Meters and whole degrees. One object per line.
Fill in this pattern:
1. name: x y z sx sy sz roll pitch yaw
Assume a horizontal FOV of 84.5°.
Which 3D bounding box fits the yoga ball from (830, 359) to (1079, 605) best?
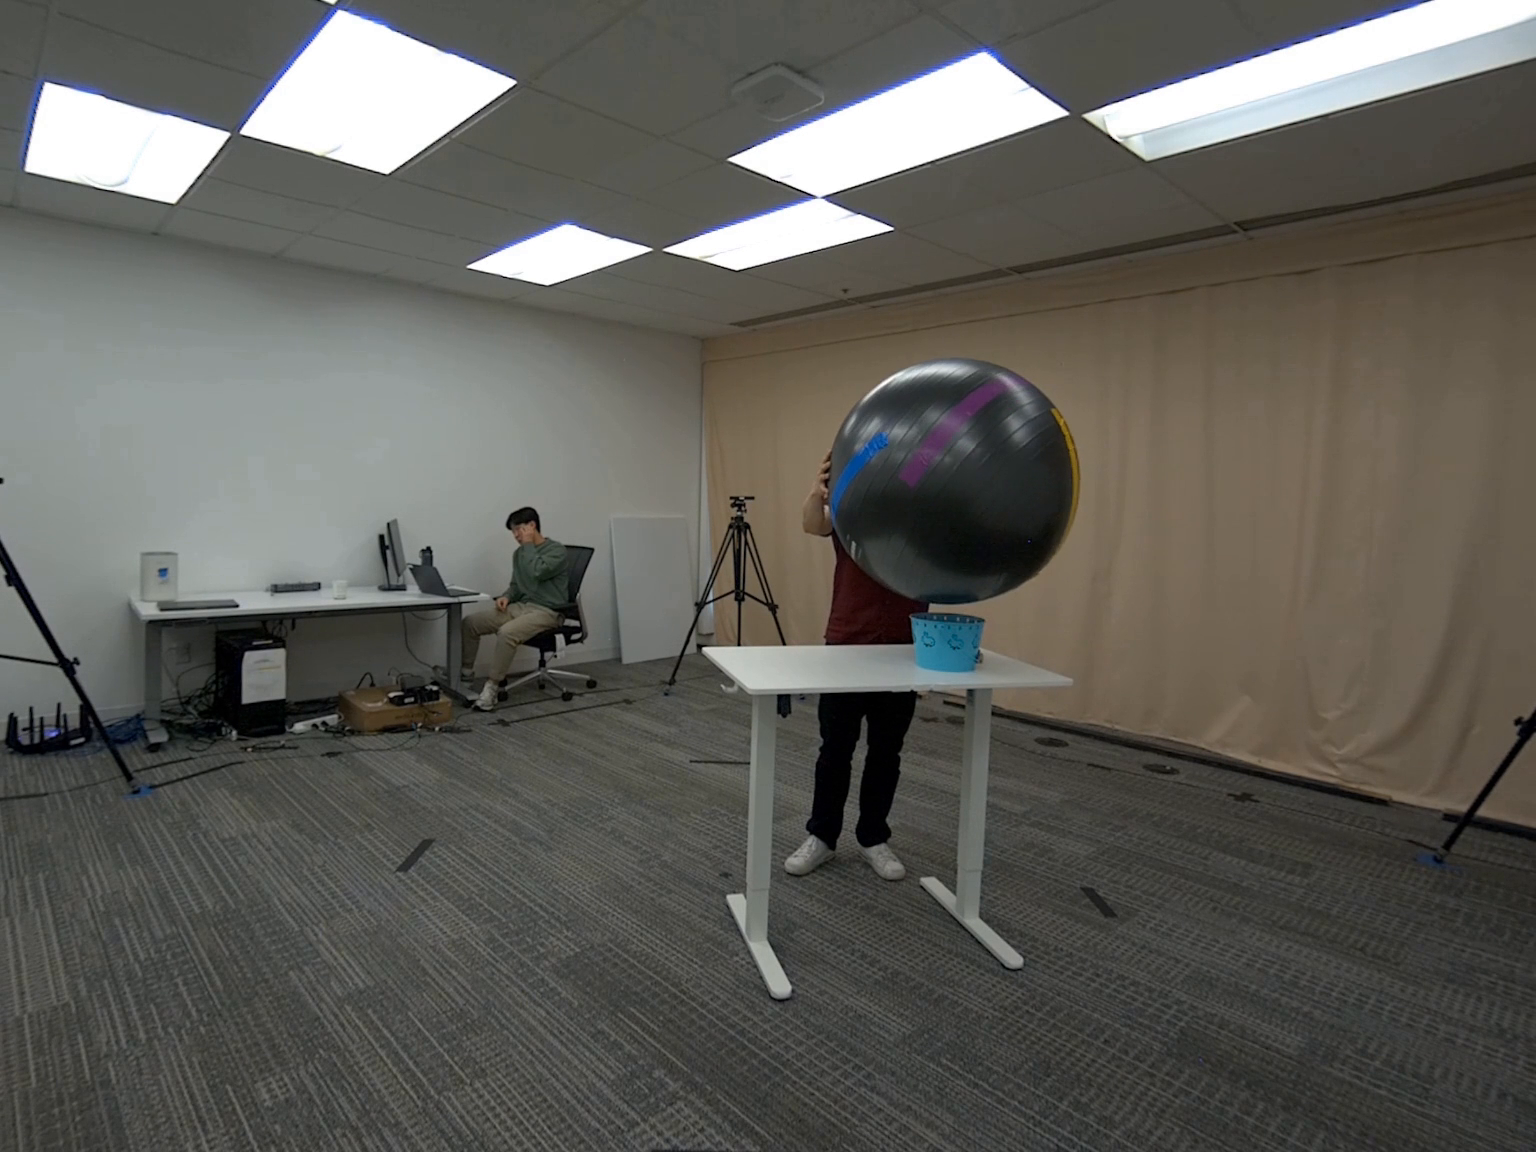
1. yoga ball: 0.563 -0.281 2.617 0.757 0.756 0.760 1 4 -1
